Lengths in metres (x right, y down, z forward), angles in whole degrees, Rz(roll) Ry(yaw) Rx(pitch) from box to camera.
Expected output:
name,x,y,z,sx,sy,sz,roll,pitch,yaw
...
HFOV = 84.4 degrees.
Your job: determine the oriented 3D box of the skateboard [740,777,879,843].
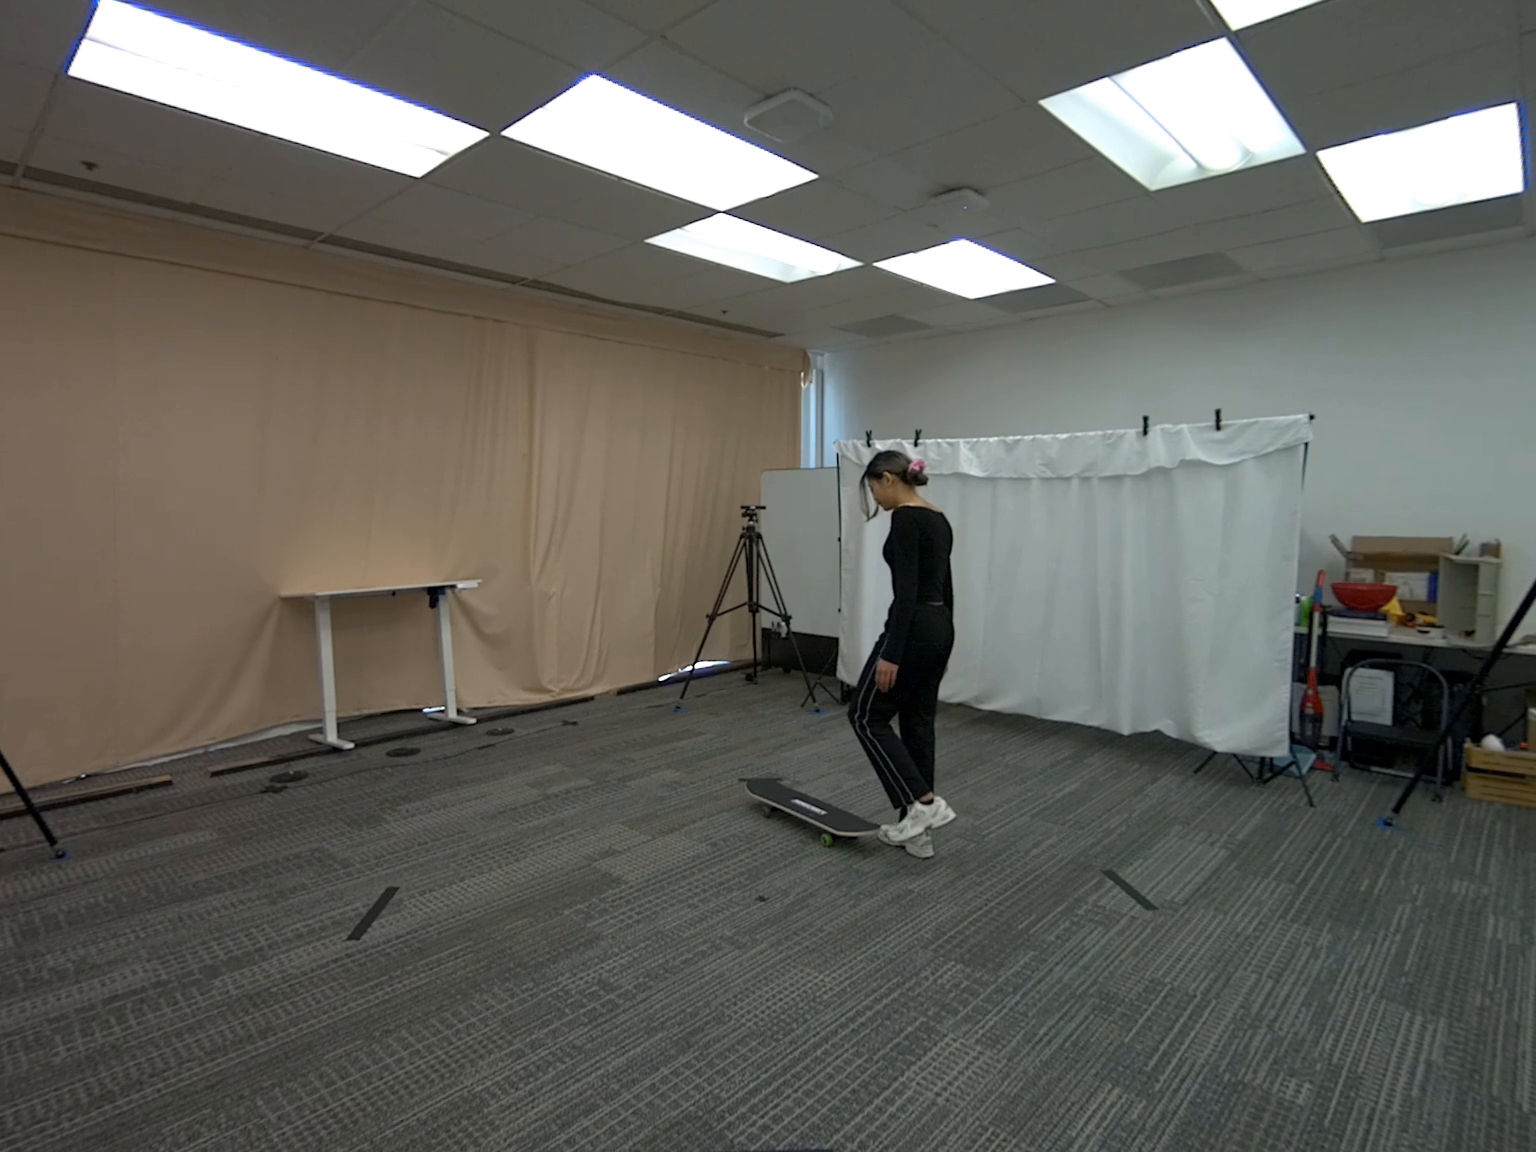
name,x,y,z,sx,sy,sz,roll,pitch,yaw
skateboard,0.180,1.030,3.654,0.188,0.110,0.811,-2,5,-37
